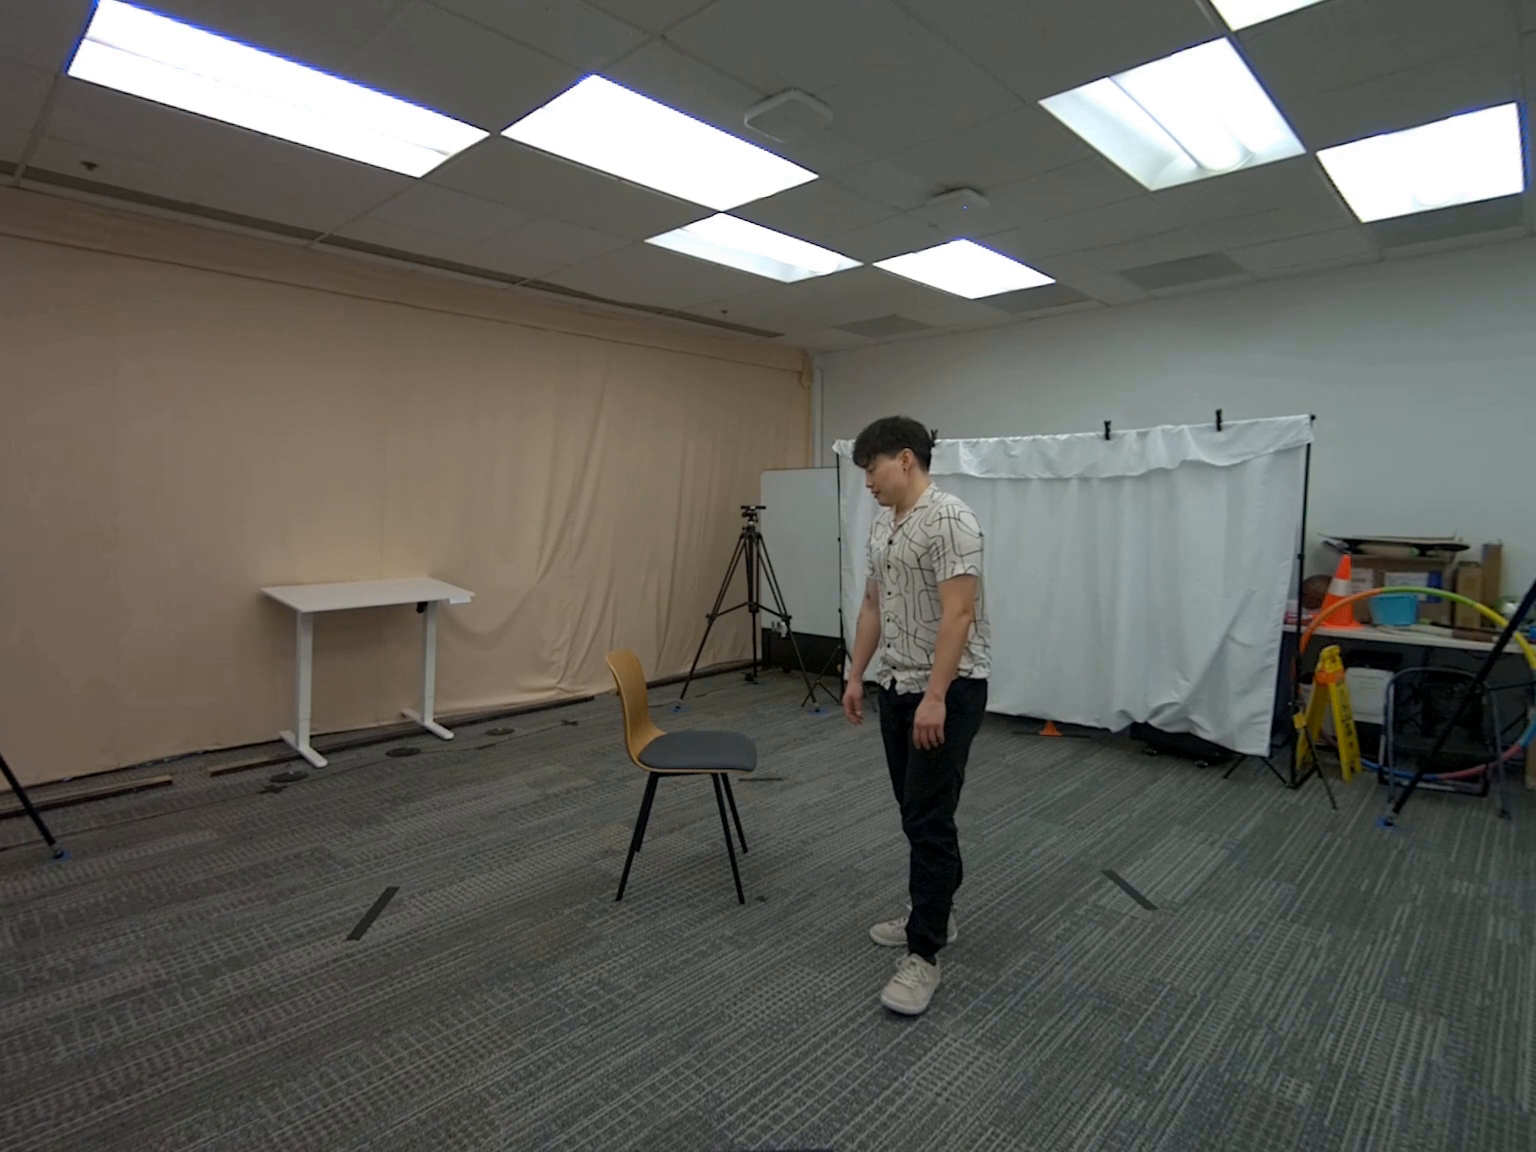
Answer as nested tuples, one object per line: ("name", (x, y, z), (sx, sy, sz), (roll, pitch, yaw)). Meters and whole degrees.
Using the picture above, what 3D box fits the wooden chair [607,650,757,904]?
("wooden chair", (-0.300, 0.702, 3.151), (0.525, 0.876, 0.477), (-5, 2, 2))
